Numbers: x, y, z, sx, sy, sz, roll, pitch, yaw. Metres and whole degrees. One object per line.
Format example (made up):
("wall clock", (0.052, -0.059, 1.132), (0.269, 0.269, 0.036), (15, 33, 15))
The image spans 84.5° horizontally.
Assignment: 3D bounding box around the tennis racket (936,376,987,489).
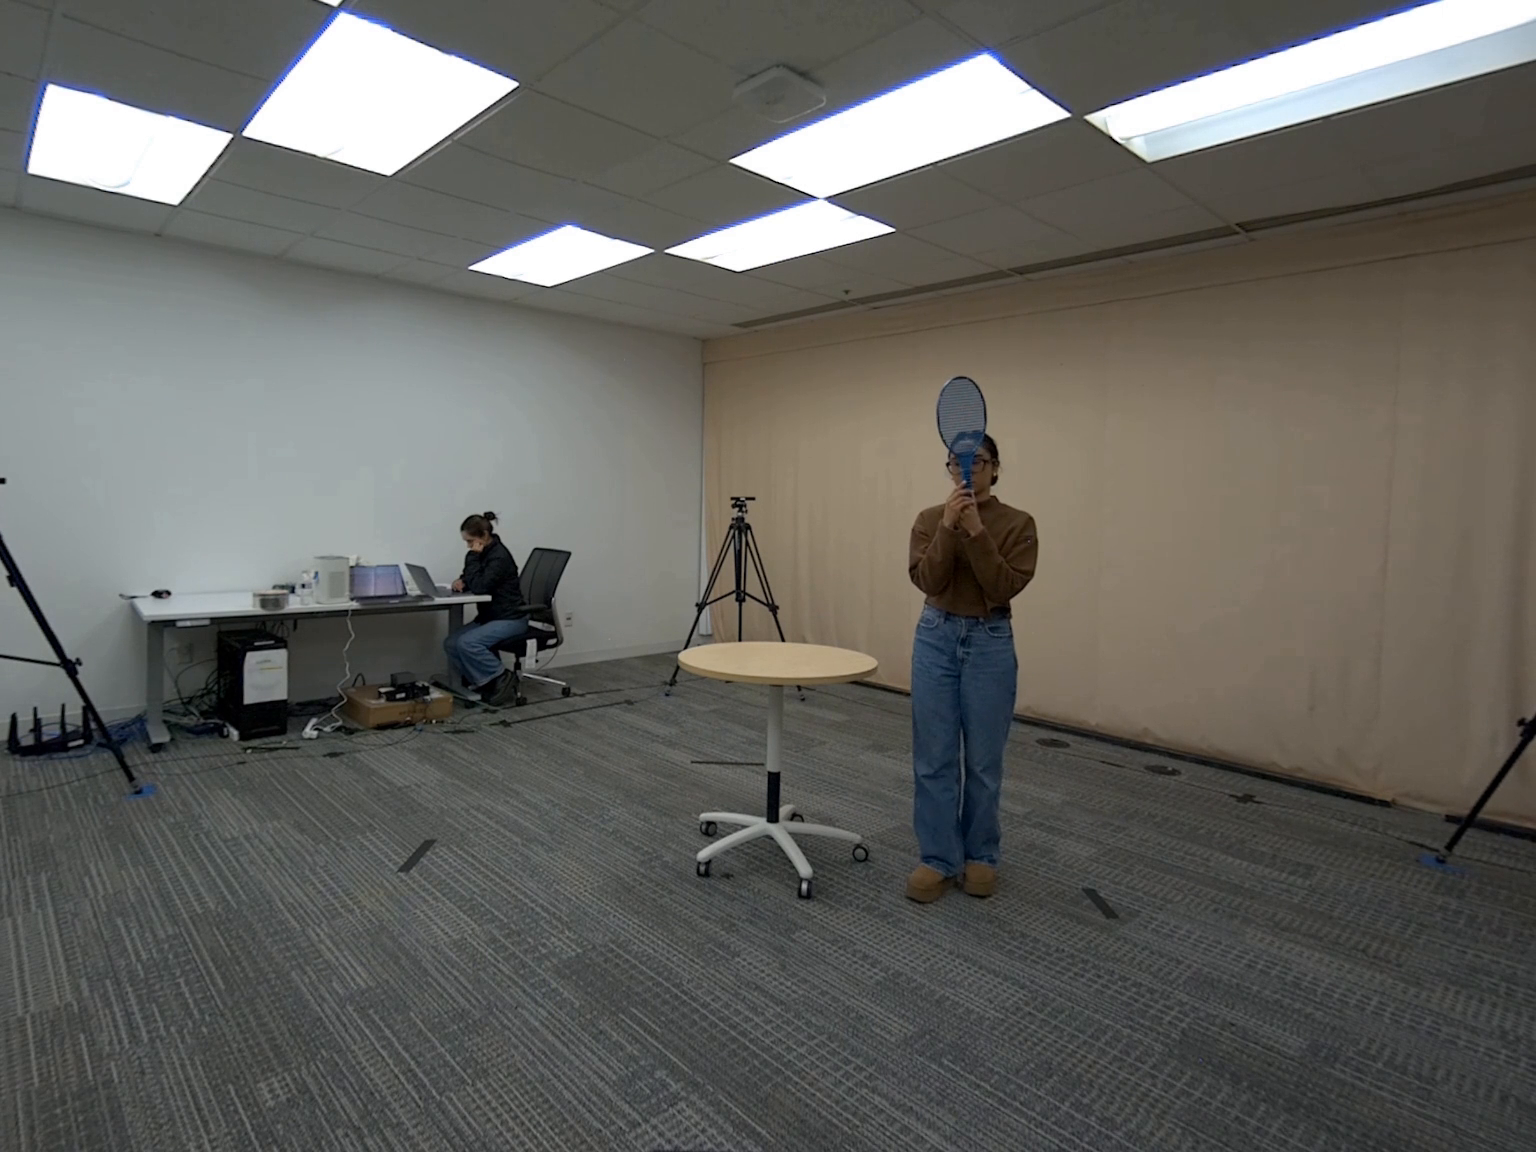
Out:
("tennis racket", (0.656, -0.457, 2.850), (0.210, 0.430, 0.032), (-7, 10, -27))
